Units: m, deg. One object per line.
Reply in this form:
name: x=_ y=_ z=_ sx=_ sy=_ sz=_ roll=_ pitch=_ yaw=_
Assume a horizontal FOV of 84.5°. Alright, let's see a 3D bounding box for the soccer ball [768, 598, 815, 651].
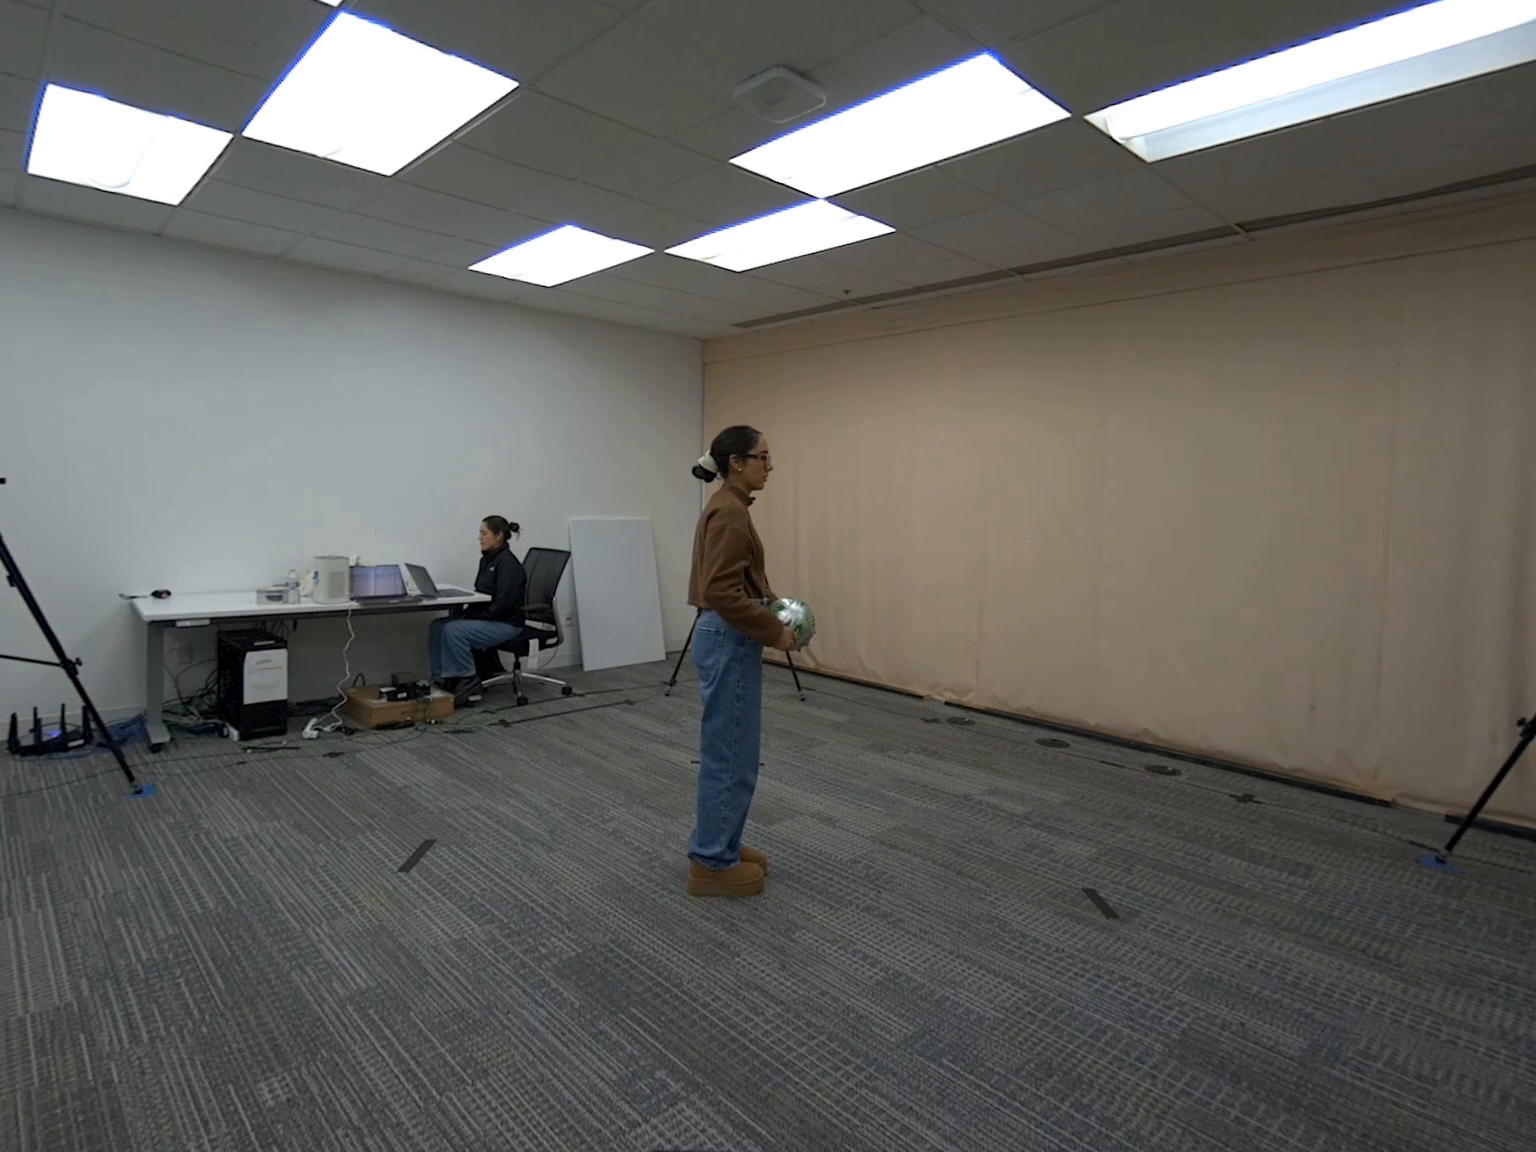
soccer ball: x=0.053 y=0.166 z=2.924 sx=0.187 sy=0.187 sz=0.188 roll=1 pitch=4 yaw=-1
